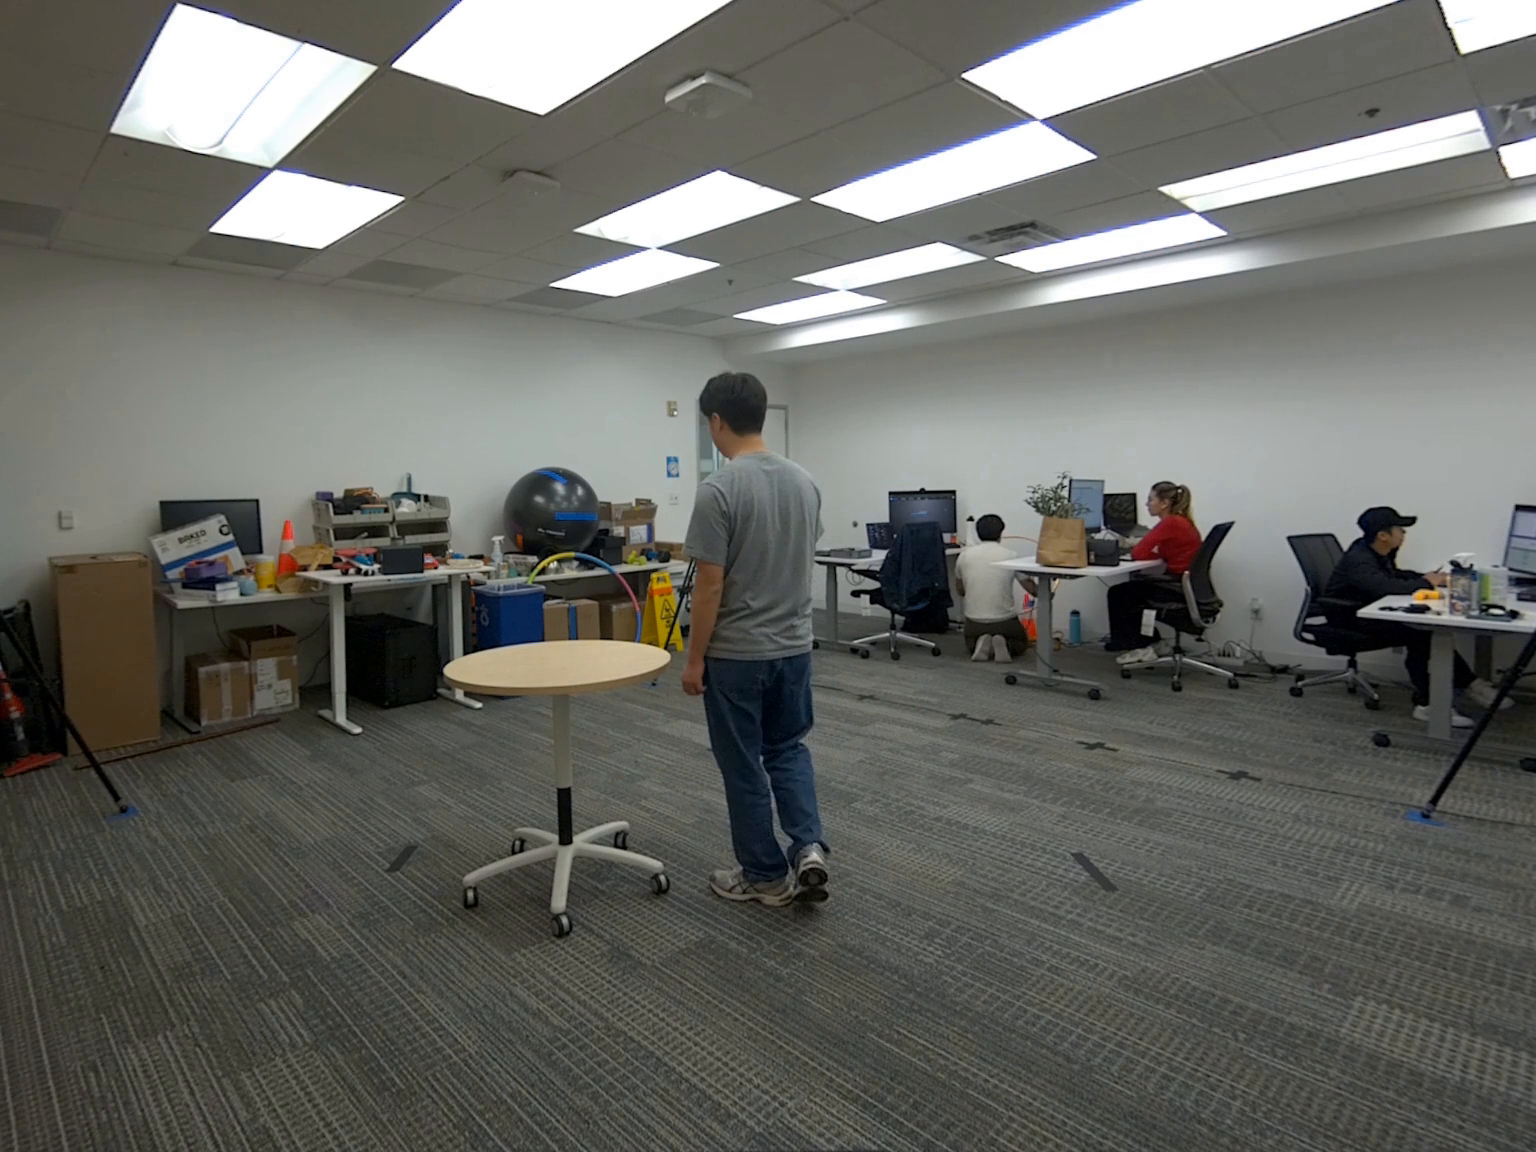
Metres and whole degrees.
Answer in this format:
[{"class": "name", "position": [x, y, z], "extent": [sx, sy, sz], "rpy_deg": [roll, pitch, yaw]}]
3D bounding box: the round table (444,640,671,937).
[{"class": "round table", "position": [-0.702, 0.684, 2.970], "extent": [0.763, 0.791, 0.768], "rpy_deg": [-2, 5, -2]}]
